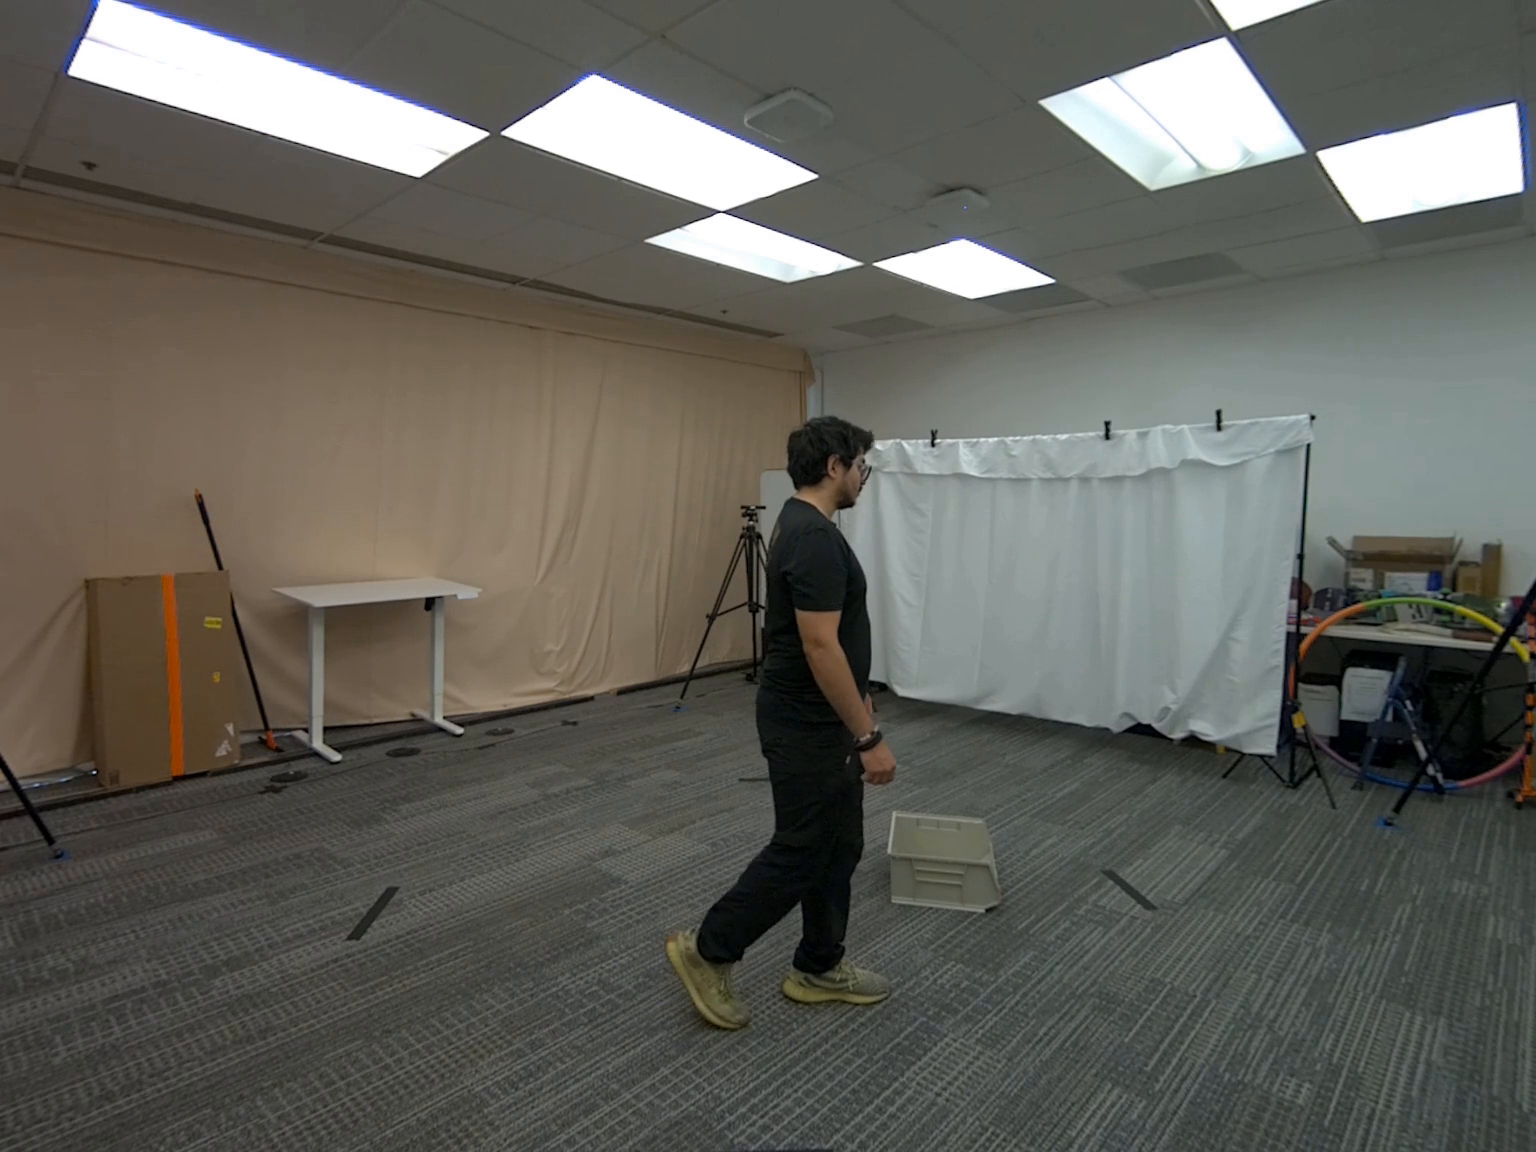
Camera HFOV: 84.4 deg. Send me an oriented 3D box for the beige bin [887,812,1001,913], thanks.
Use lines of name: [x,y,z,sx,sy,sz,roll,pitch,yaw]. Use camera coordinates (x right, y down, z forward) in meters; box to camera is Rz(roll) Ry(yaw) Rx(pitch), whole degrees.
beige bin: [0.650,1.044,3.099,0.383,0.188,0.418,0,5,12]
